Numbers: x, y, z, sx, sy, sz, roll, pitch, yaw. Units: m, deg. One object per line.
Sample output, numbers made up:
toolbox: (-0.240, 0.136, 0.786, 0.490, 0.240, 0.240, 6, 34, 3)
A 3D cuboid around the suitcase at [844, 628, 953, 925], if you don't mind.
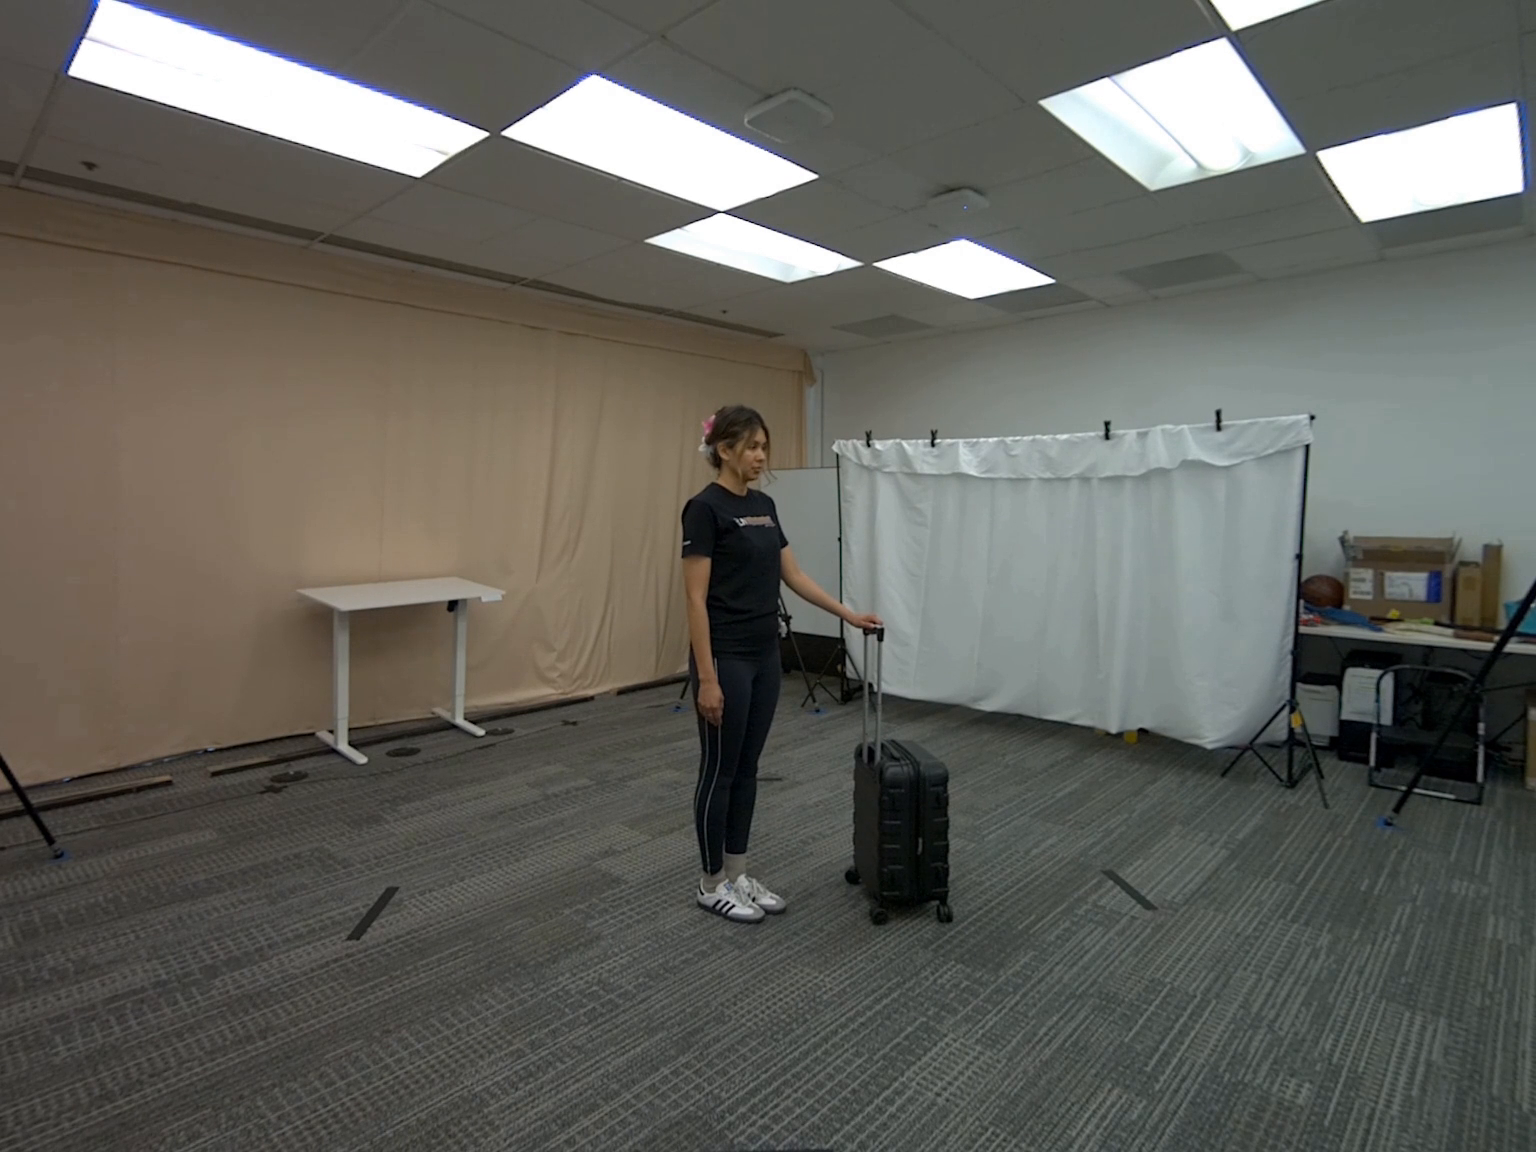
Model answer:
suitcase: (0.473, 0.670, 2.945, 0.255, 0.977, 0.388, 3, 3, -8)
